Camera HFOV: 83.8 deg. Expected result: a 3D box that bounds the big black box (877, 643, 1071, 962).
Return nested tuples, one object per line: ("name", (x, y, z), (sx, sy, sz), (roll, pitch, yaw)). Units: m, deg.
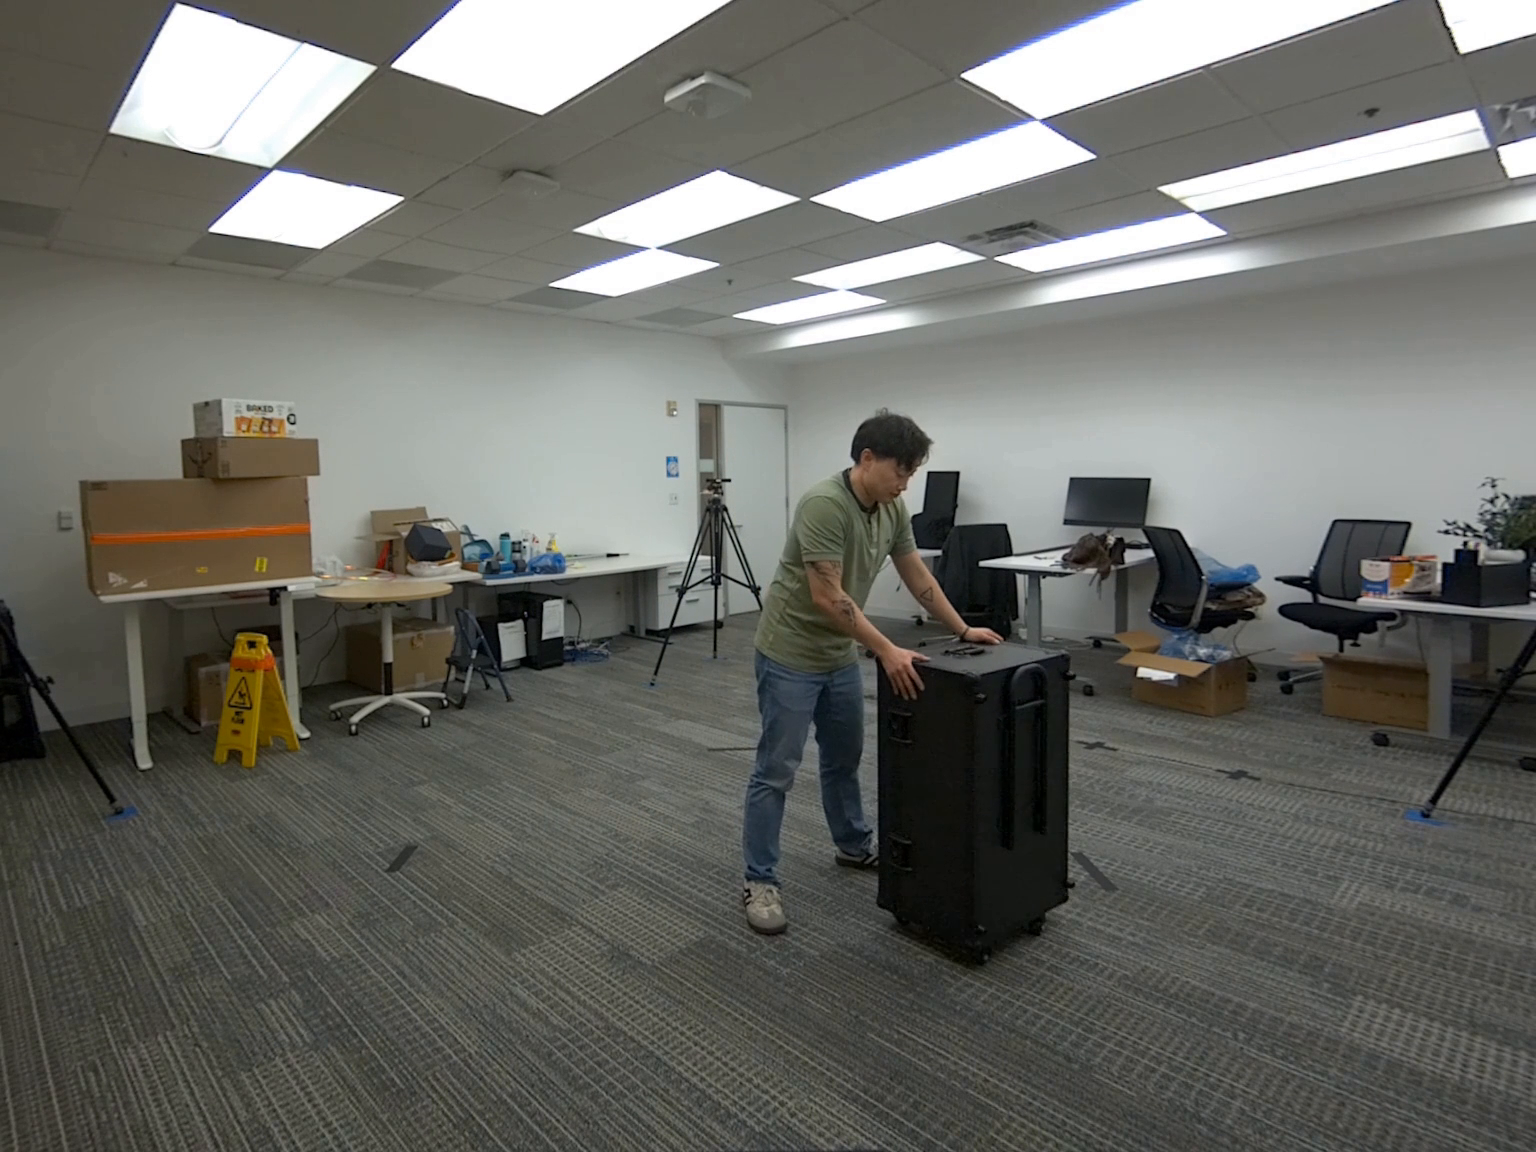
("big black box", (0.656, 0.668, 2.606), (0.507, 0.857, 0.409), (-4, 7, -41))
